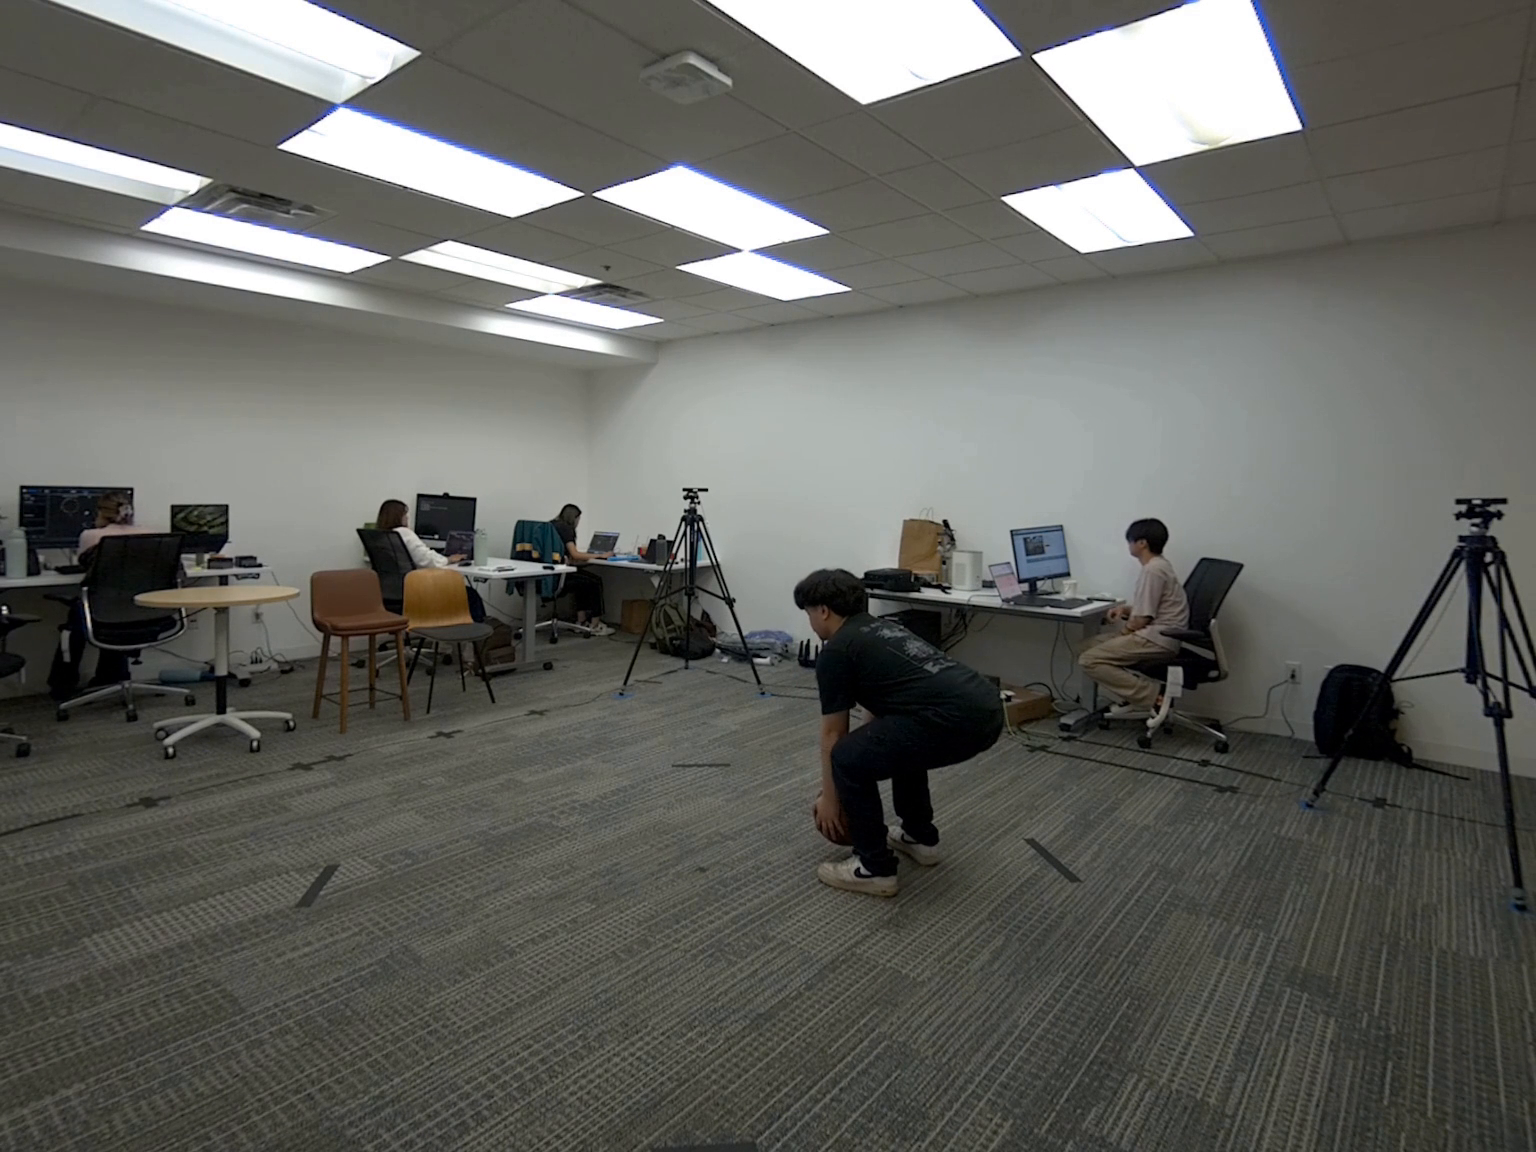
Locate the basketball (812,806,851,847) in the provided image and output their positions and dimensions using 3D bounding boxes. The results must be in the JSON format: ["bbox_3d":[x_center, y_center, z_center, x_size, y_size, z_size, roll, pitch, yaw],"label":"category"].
[{"bbox_3d":[0.285,0.888,3.248,0.235,0.235,0.237,1,4,-2],"label":"basketball"}]
